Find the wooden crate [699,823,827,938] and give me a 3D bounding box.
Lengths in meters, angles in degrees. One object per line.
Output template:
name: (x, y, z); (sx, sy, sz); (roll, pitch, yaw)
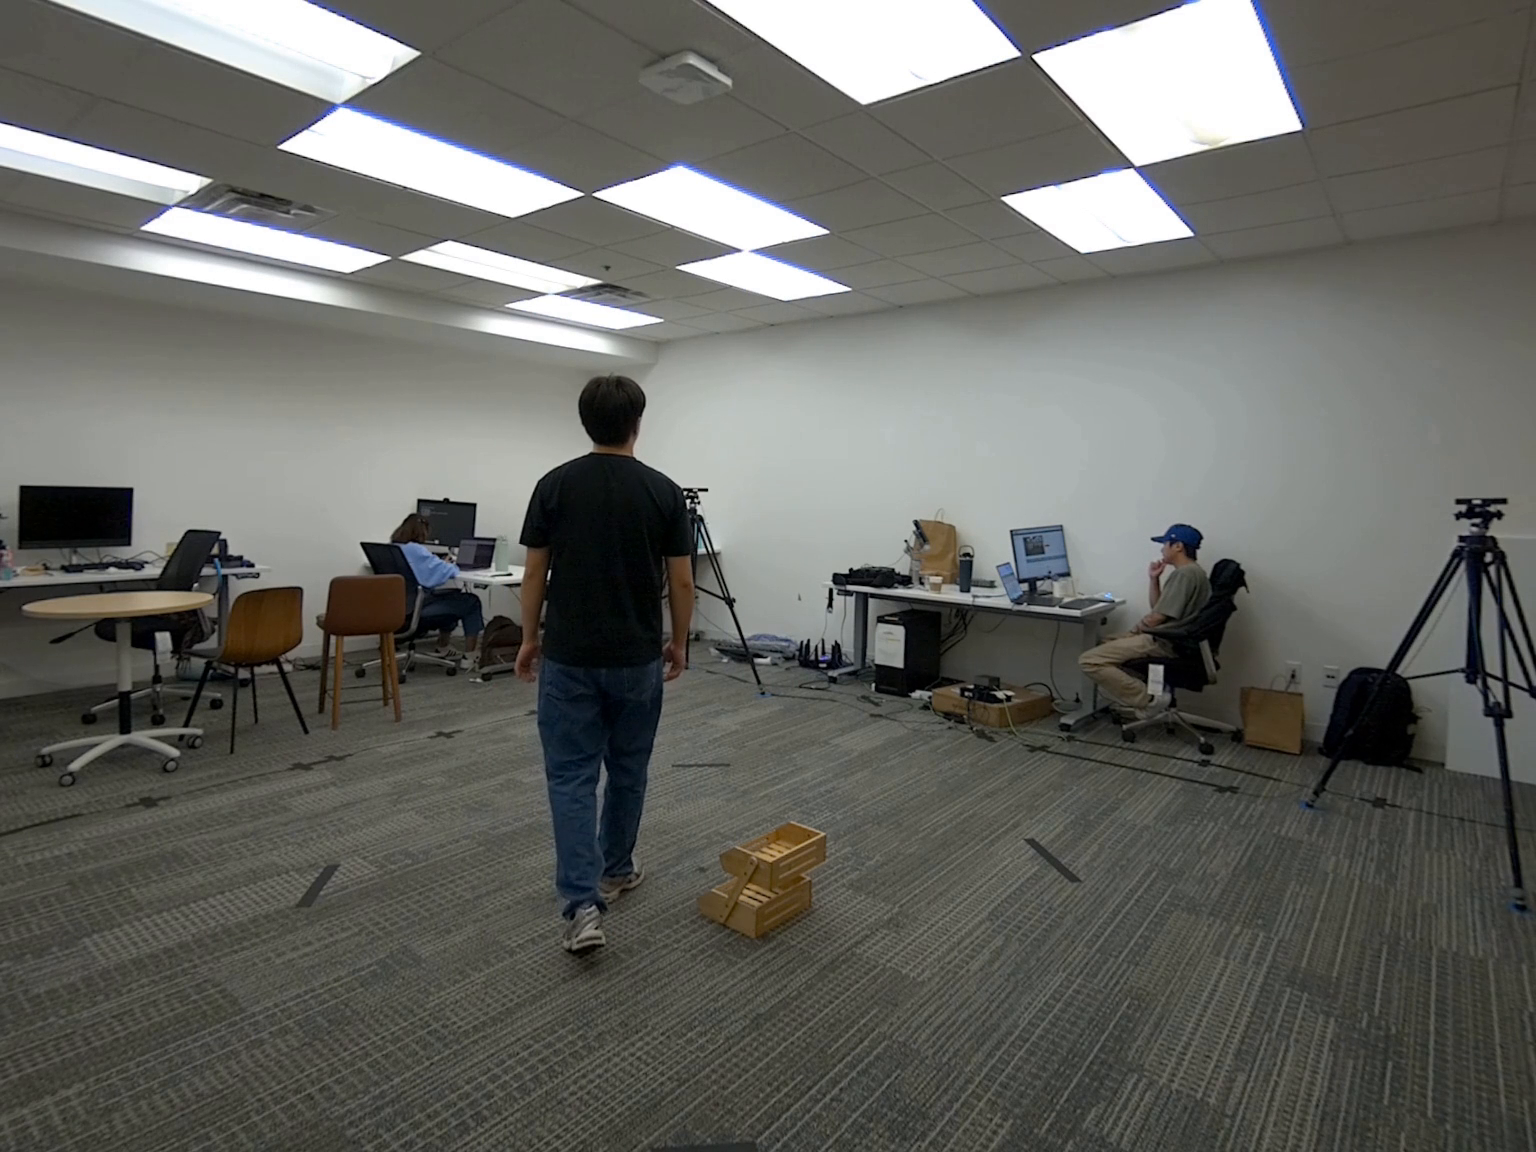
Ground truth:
wooden crate: (-0.033, 0.970, 2.801); (0.312, 0.272, 0.315); (5, 6, 39)
